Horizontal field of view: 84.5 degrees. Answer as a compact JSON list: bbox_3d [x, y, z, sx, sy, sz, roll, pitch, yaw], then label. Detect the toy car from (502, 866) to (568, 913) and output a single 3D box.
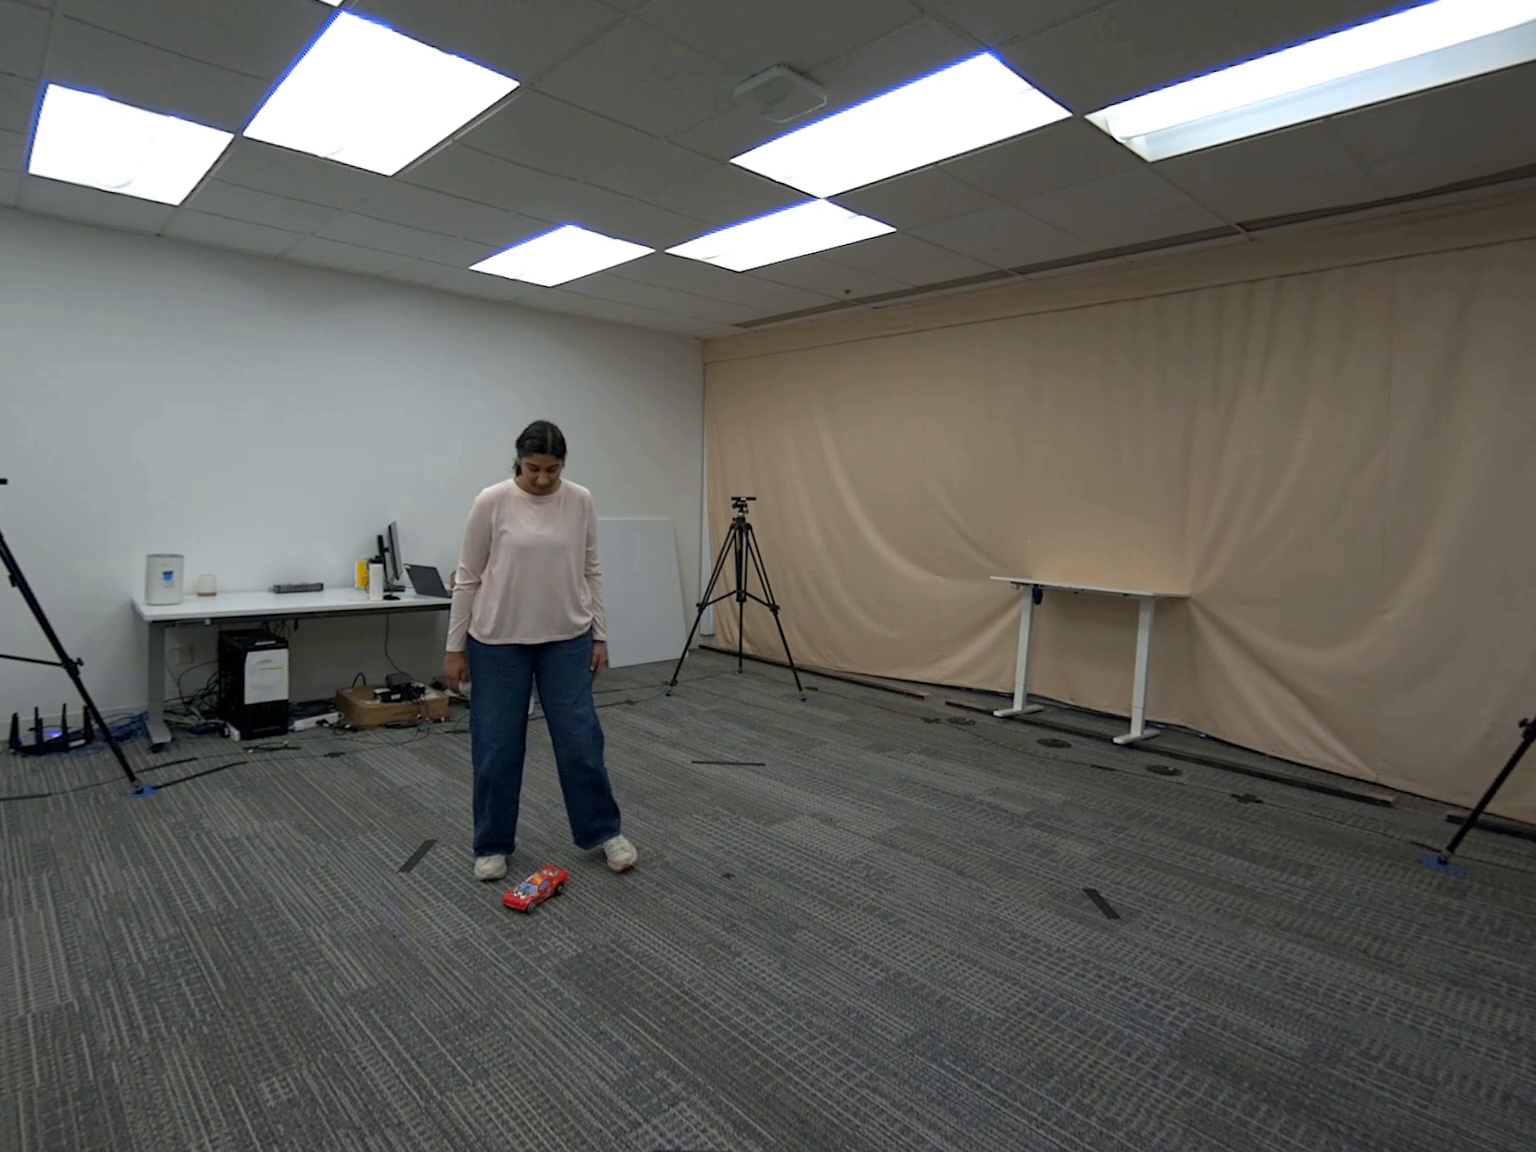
[{"bbox_3d":[-0.810,1.085,2.896,0.133,0.082,0.252,3,17,26],"label":"toy car"}]
